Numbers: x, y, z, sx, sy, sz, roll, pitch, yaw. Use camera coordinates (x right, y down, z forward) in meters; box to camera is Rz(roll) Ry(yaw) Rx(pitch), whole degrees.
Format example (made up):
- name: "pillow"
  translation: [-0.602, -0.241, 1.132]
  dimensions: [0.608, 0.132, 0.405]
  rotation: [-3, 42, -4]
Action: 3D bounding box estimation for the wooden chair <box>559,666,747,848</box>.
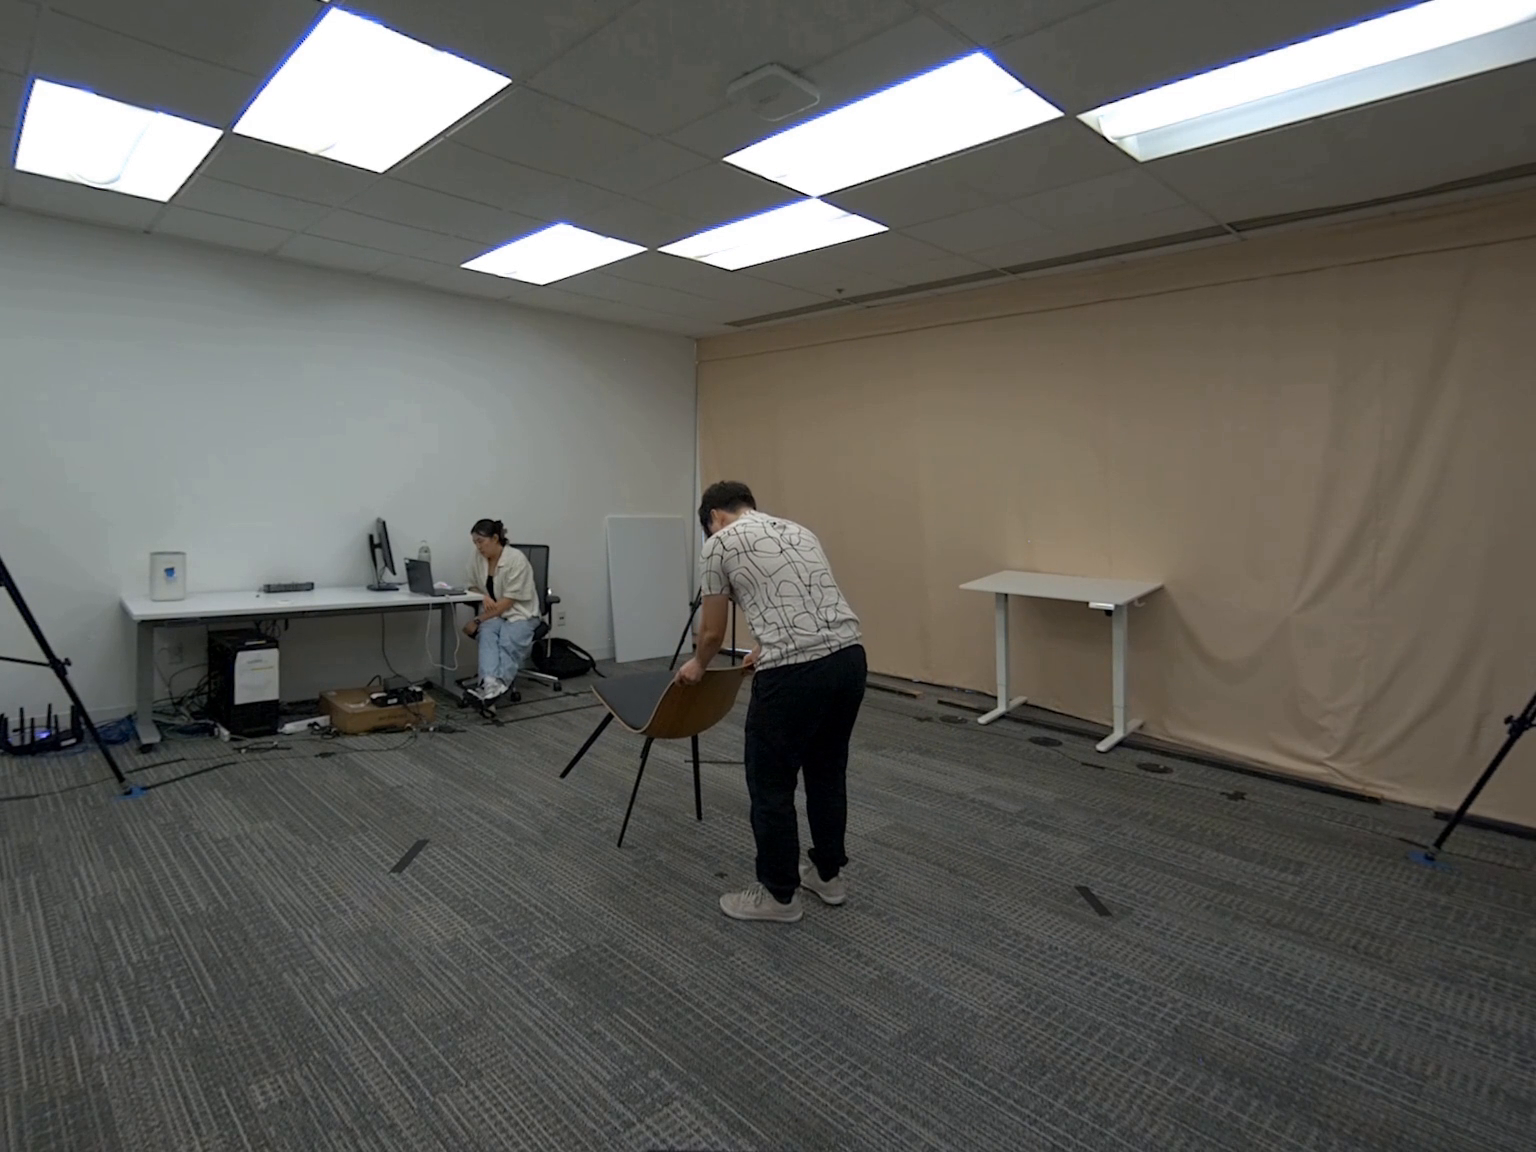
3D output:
- name: "wooden chair"
  translation: [-0.466, 0.578, 3.480]
  dimensions: [0.467, 0.870, 0.539]
  rotation: [-2, 33, -46]
